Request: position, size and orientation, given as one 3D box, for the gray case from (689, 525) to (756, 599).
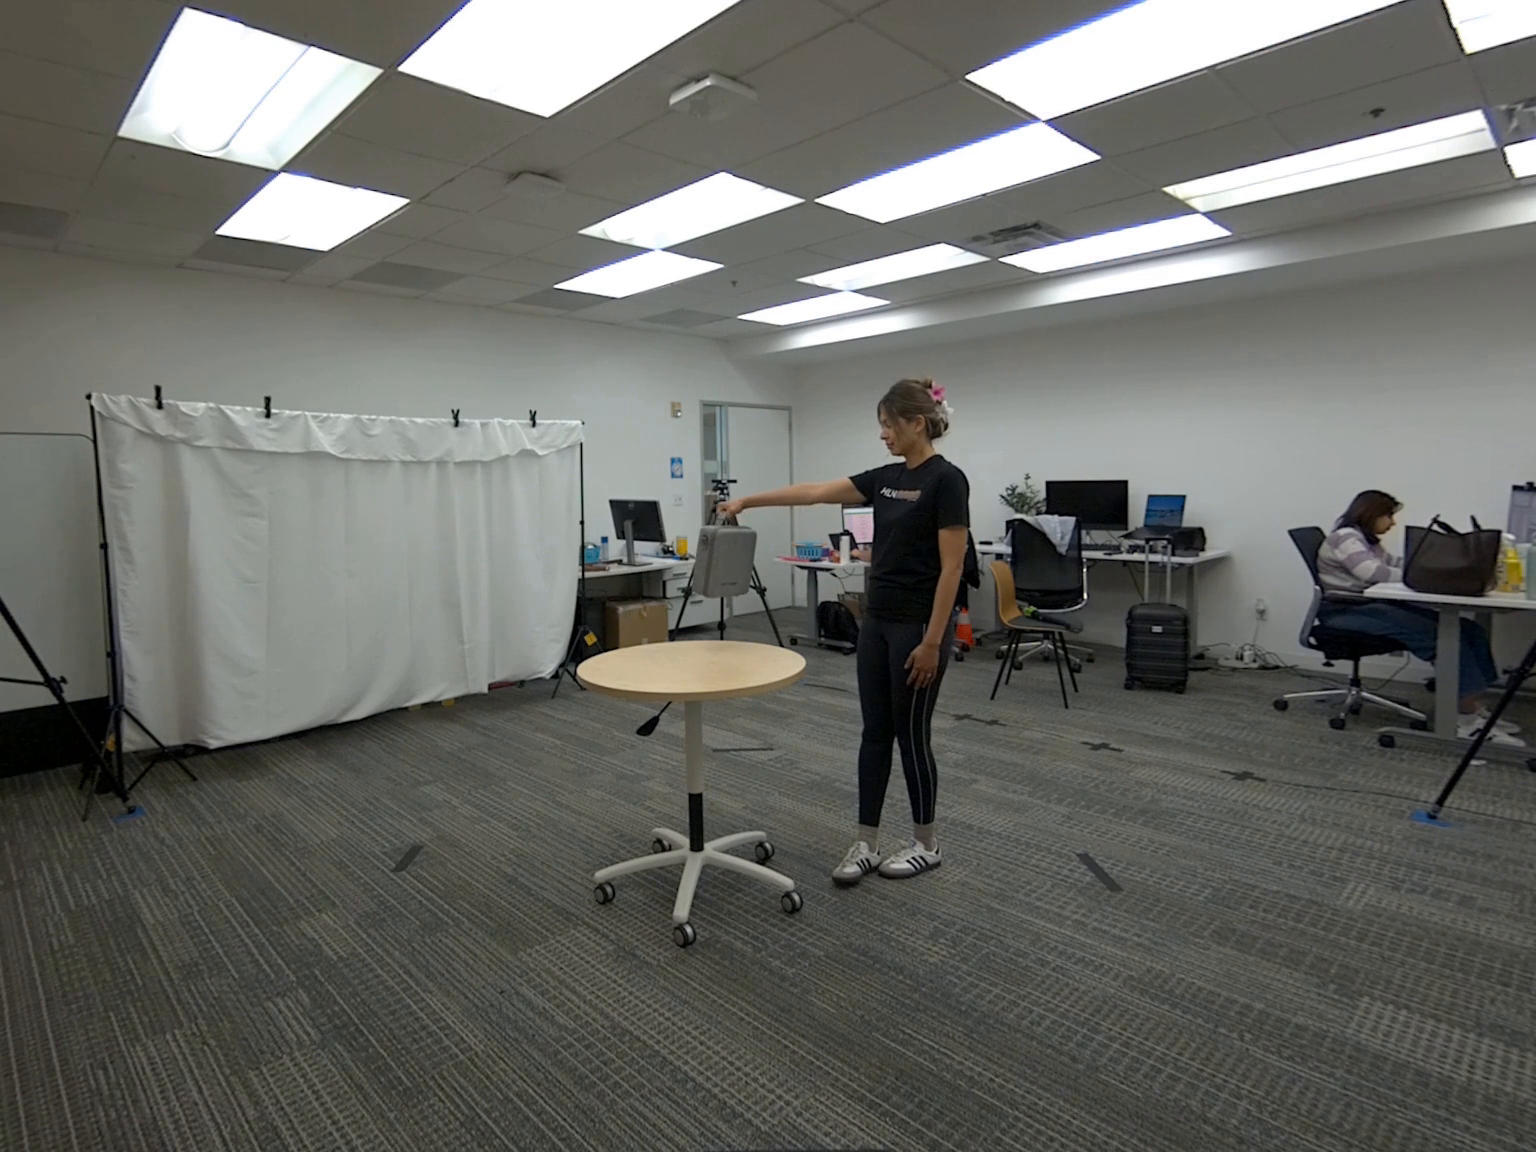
[{"bbox_3d":[-0.148,-0.055,3.091,0.107,0.260,0.250,9,5,32],"label":"gray case"}]
